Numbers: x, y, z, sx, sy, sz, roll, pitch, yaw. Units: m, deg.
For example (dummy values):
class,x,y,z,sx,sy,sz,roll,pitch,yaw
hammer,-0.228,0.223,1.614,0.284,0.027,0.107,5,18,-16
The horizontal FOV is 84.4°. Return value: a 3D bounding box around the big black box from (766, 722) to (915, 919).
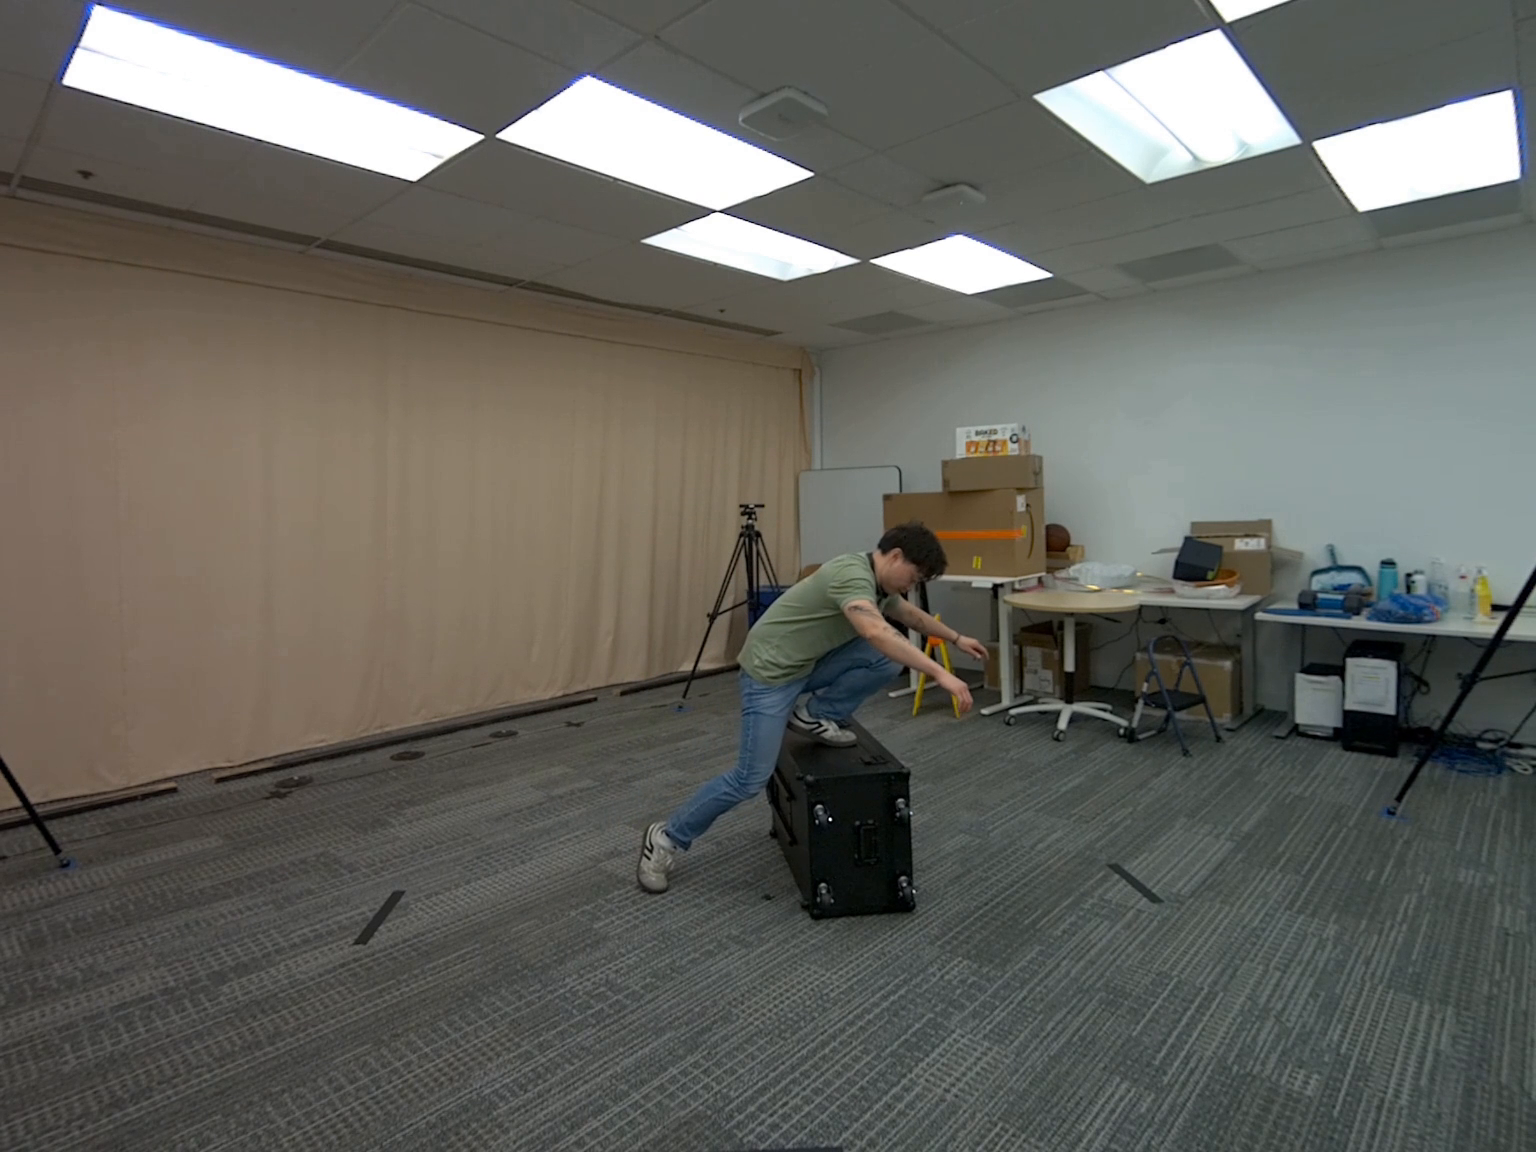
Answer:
class,x,y,z,sx,sy,sz,roll,pitch,yaw
big black box,0.242,0.864,3.168,0.393,0.520,0.871,-3,5,-9
